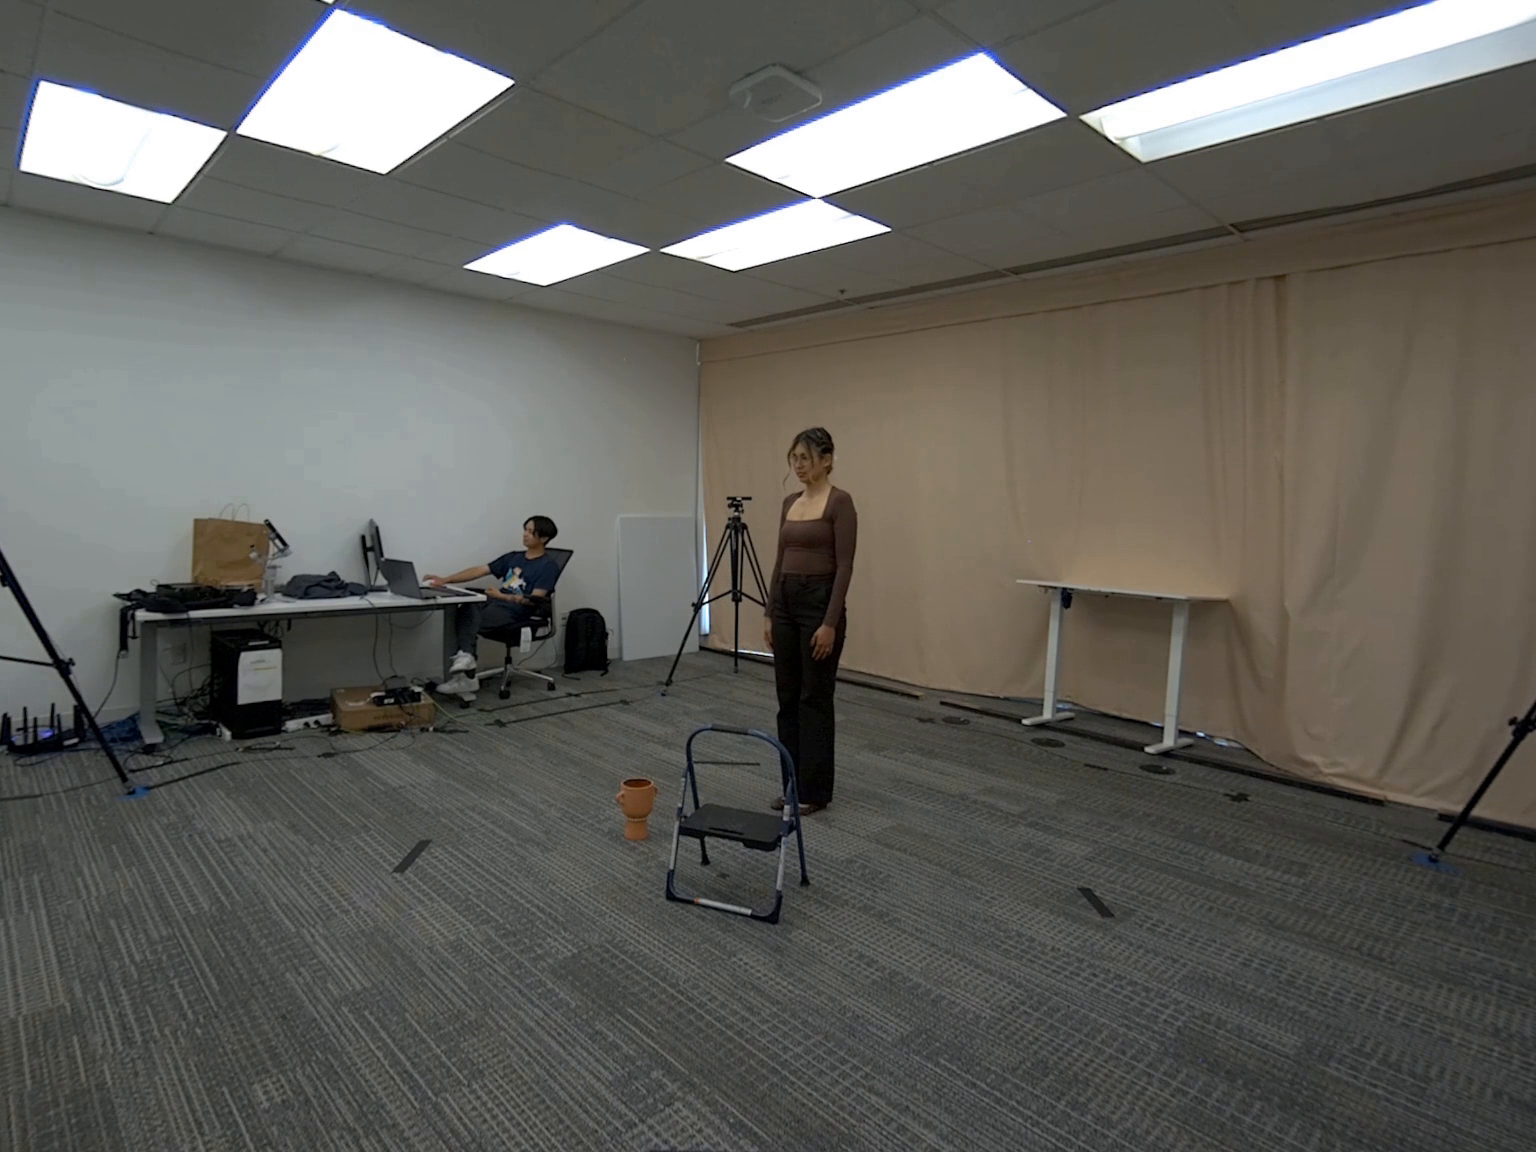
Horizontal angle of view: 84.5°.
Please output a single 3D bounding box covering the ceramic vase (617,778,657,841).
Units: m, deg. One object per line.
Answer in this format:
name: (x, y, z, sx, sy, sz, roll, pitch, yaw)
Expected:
ceramic vase: (-0.547, 0.955, 3.448, 0.159, 0.219, 0.135, 2, 3, 0)
